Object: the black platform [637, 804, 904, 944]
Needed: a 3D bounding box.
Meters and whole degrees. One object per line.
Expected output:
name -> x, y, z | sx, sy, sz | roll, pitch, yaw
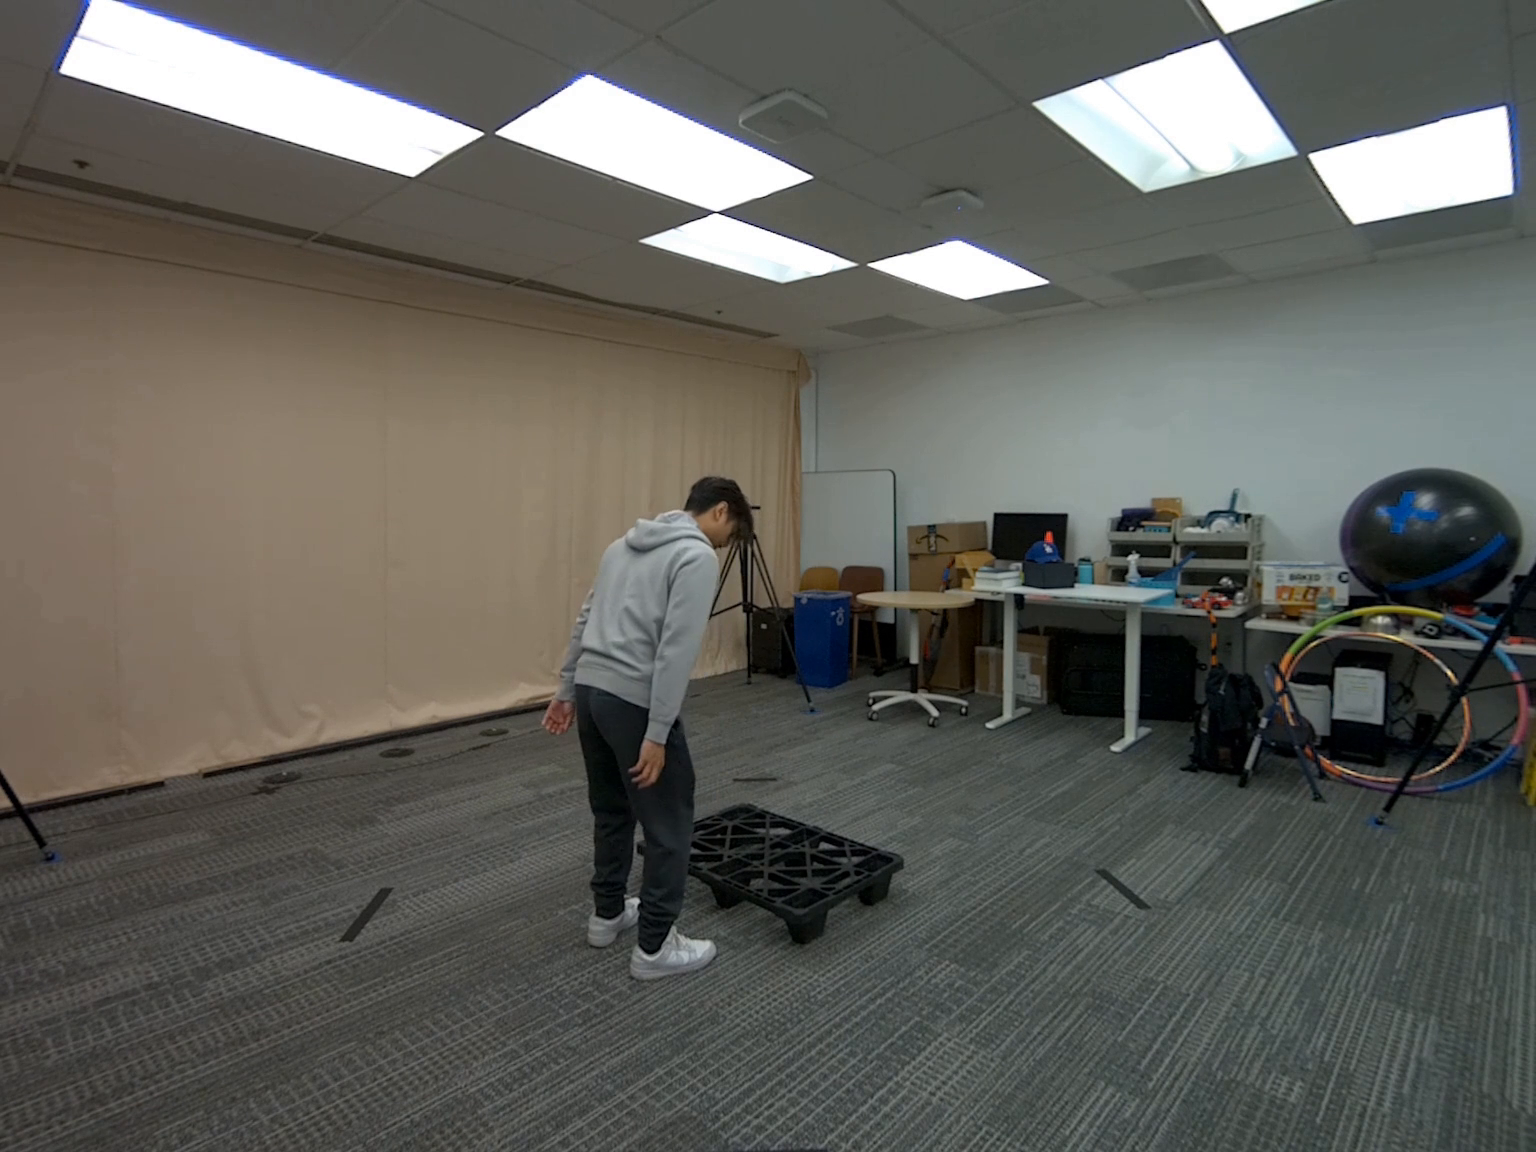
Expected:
black platform -> 0.001, 1.071, 3.079 | 0.832, 0.143, 0.587 | 4, 7, 43
